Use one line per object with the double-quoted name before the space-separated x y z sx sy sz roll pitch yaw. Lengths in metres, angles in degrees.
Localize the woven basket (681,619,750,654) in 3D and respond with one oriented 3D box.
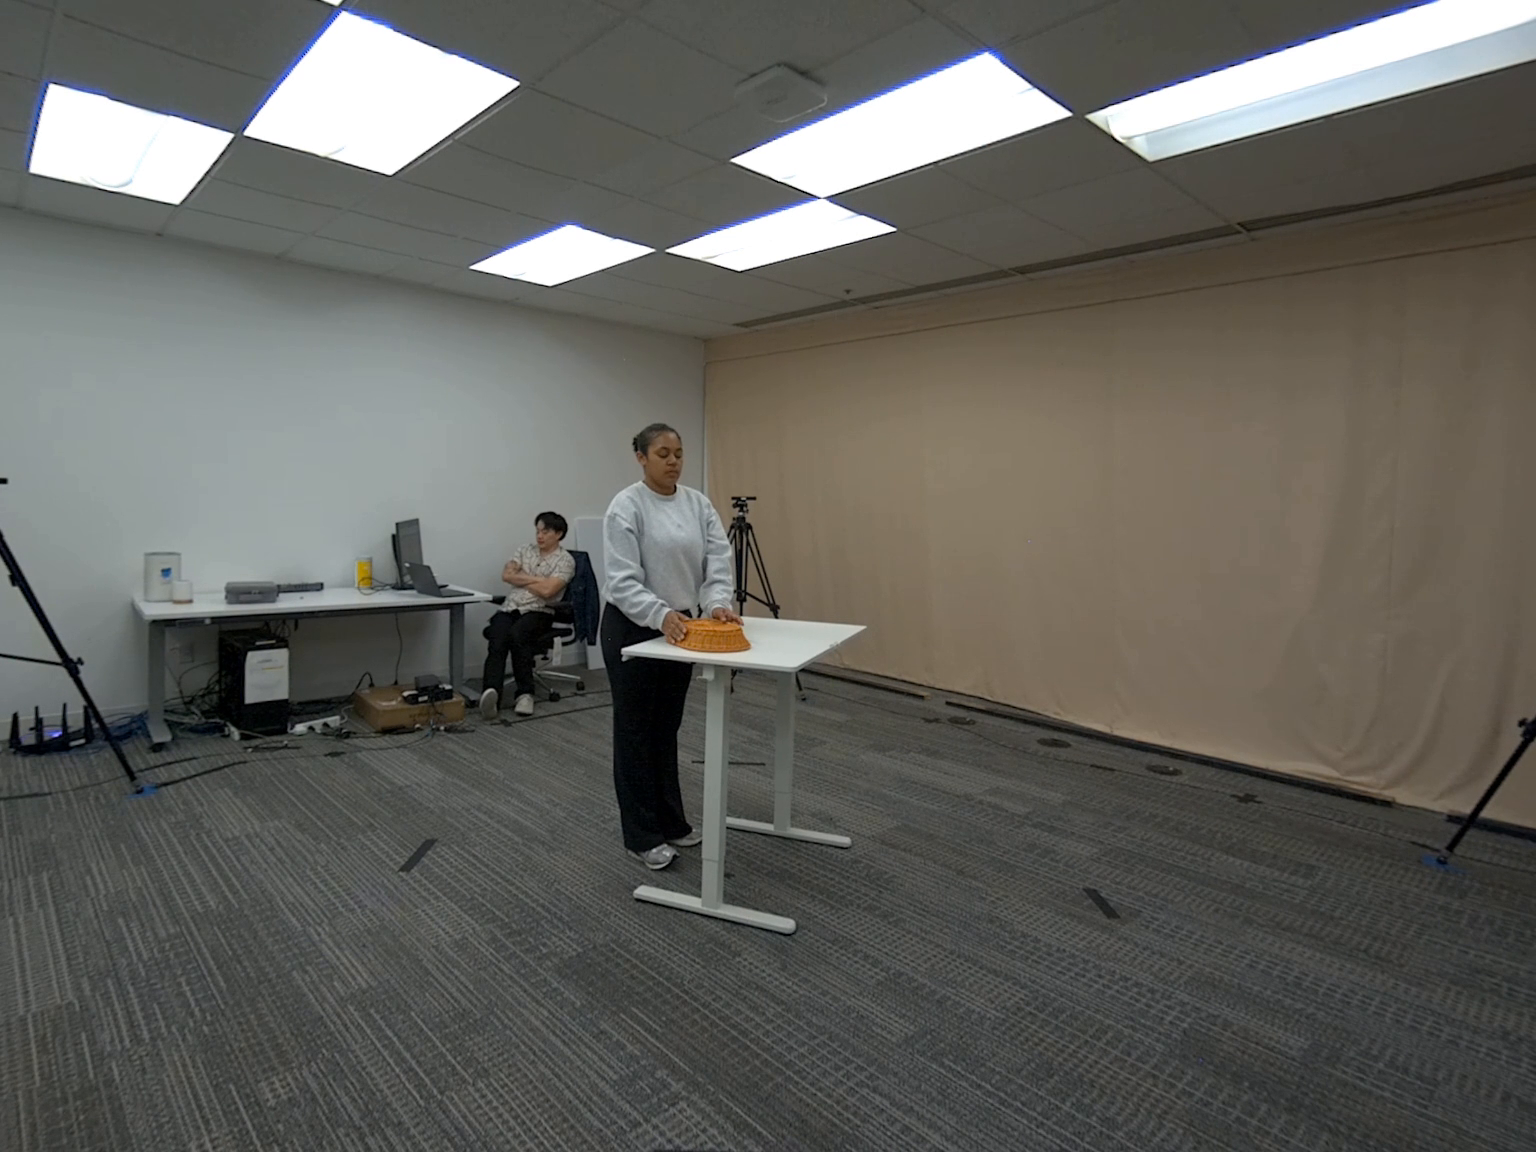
"woven basket" -0.208 0.207 2.913 0.250 0.073 0.355 0 4 -14
